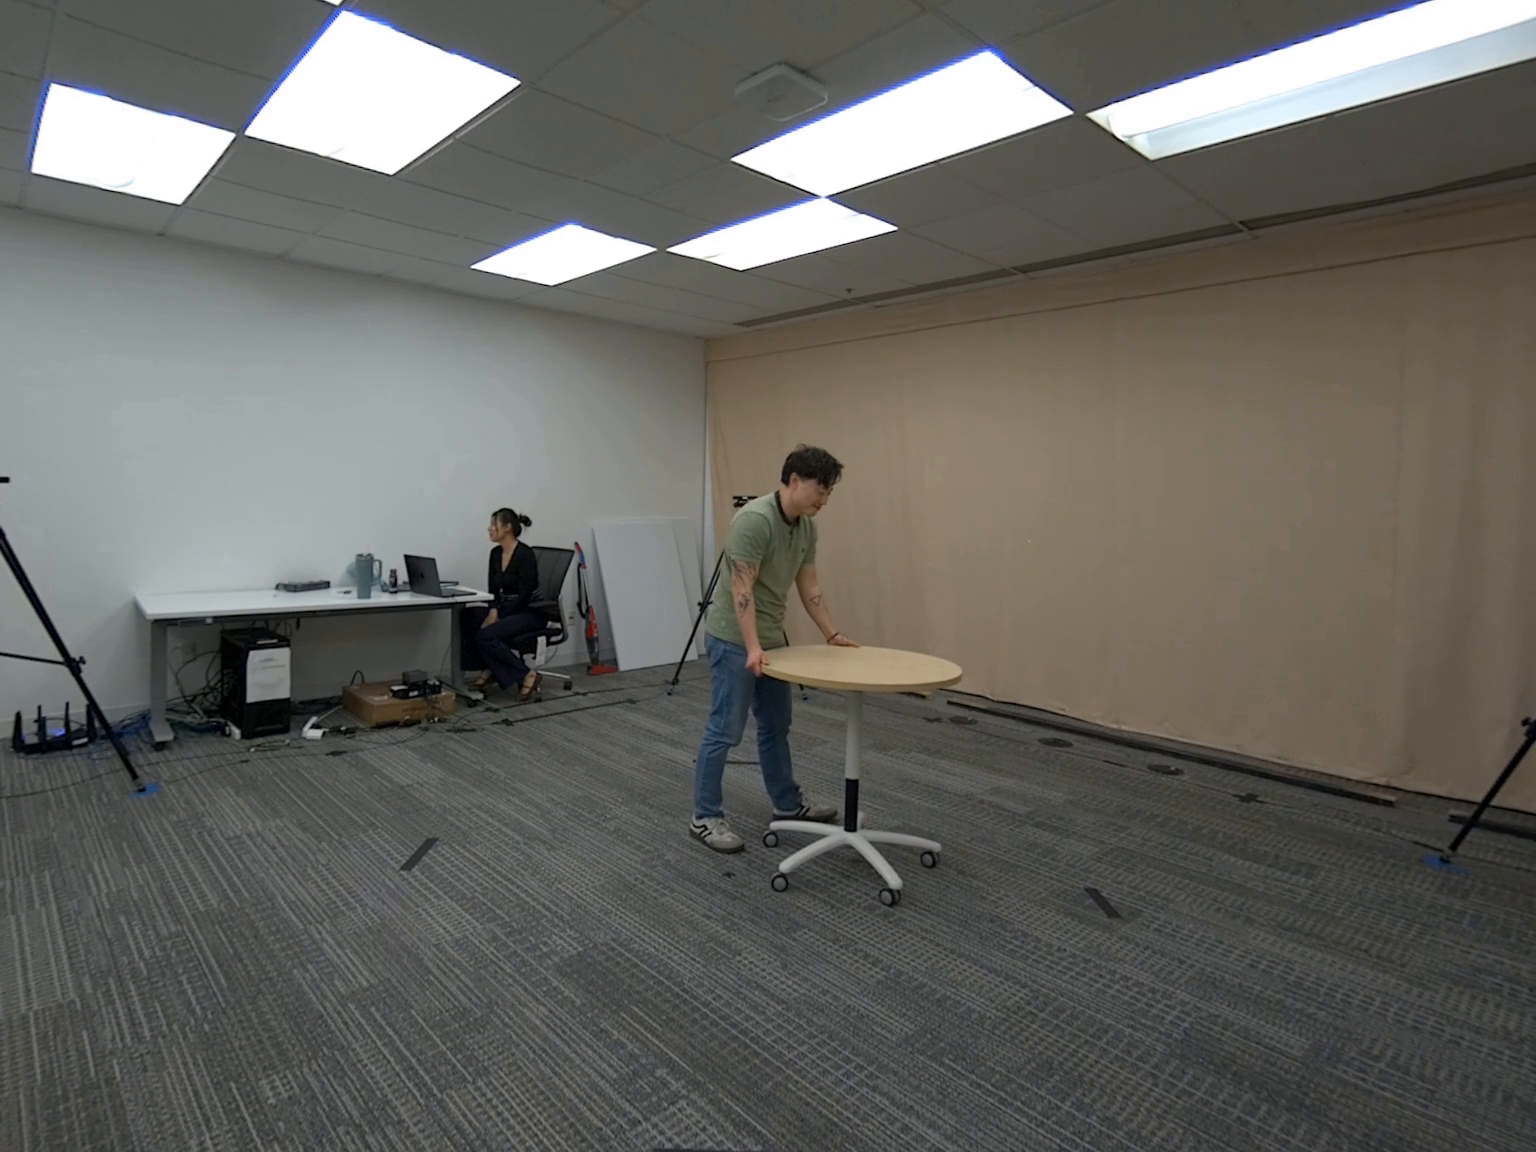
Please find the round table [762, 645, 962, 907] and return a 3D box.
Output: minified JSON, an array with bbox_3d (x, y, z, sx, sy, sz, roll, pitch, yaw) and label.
[{"bbox_3d":[0.308,0.717,3.180,0.763,0.792,0.766,2,4,-1],"label":"round table"}]
